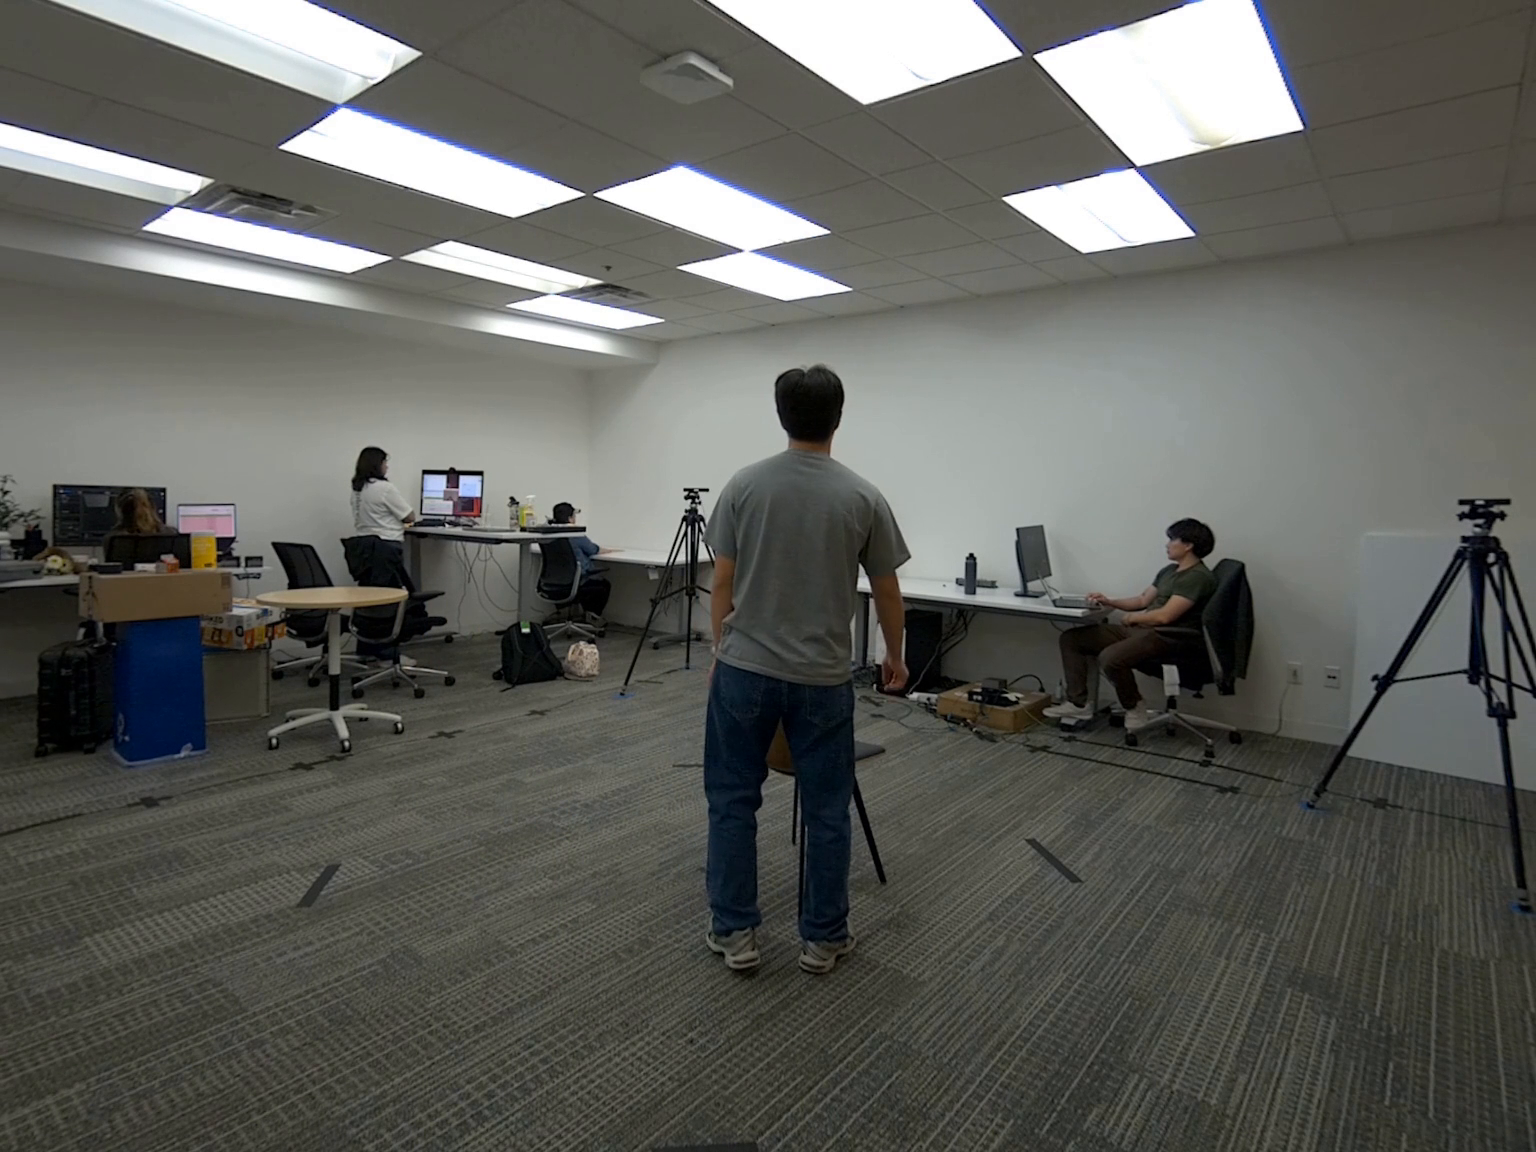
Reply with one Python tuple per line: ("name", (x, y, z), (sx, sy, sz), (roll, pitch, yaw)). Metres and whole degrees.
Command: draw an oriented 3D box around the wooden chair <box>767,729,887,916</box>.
("wooden chair", (0.104, 0.654, 3.033), (0.509, 0.872, 0.494), (-8, 8, -43))
